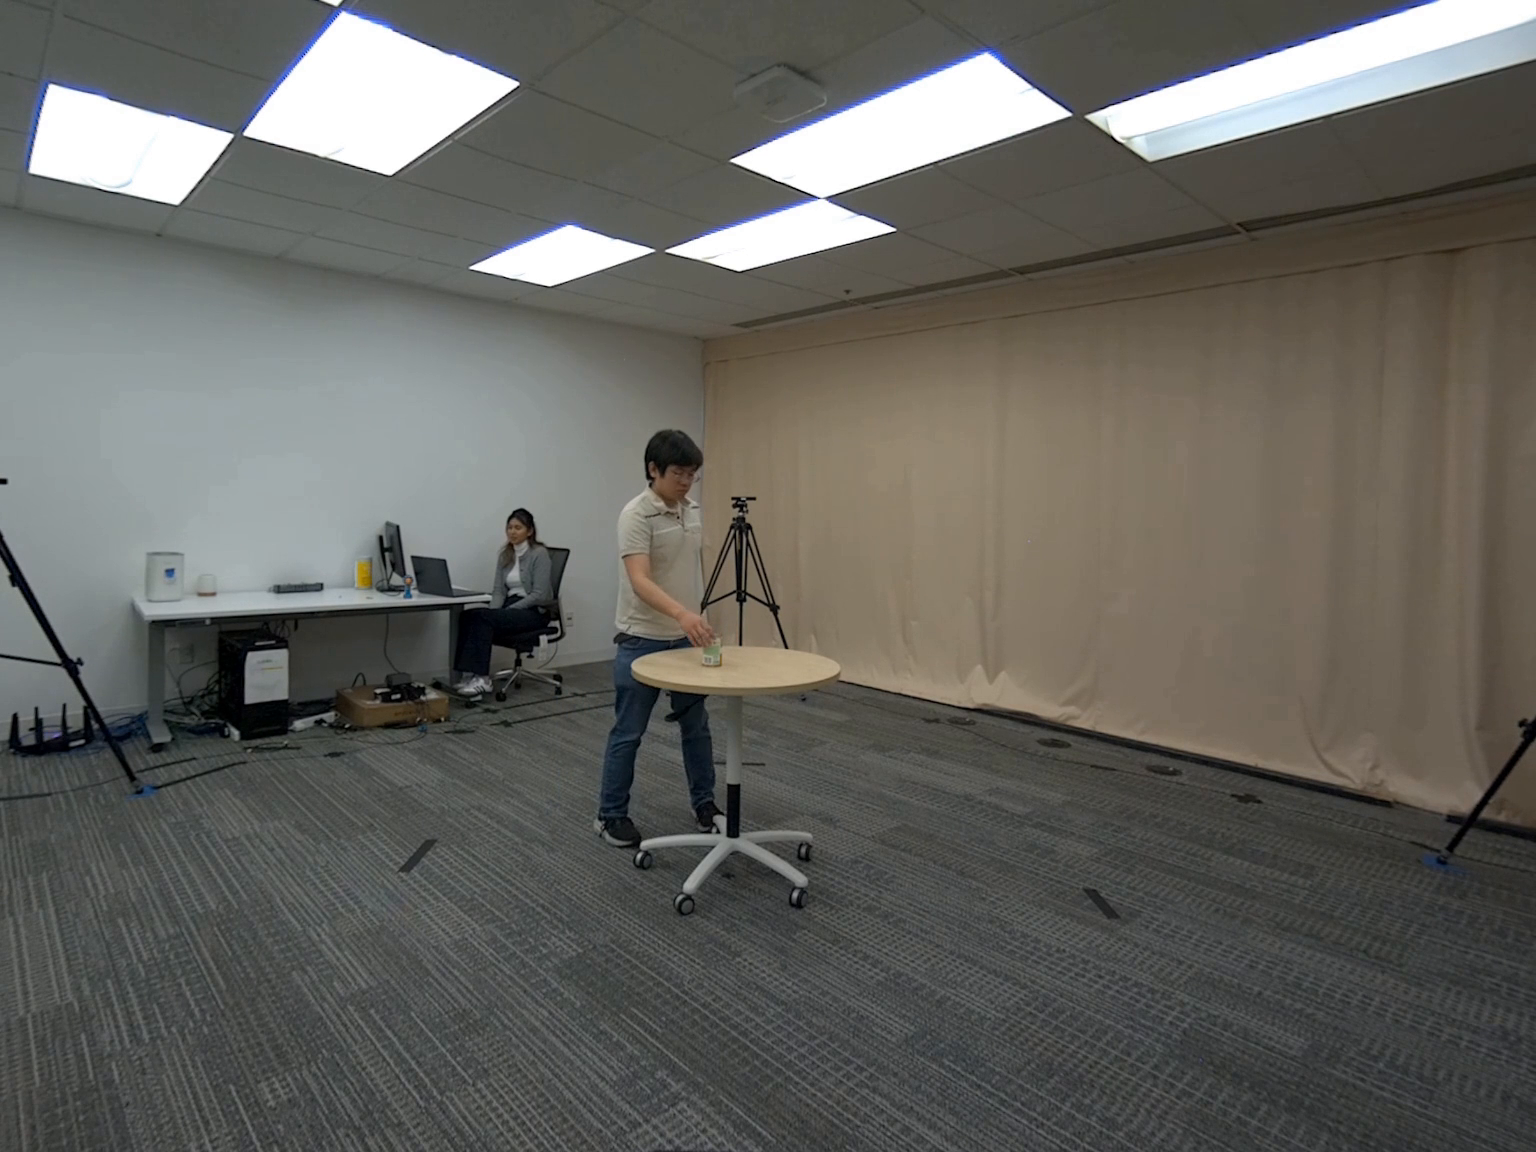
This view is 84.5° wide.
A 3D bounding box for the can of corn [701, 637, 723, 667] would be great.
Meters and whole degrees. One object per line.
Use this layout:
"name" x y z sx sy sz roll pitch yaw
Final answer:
"can of corn" -0.210 0.273 3.066 0.074 0.110 0.074 -2 5 -1
